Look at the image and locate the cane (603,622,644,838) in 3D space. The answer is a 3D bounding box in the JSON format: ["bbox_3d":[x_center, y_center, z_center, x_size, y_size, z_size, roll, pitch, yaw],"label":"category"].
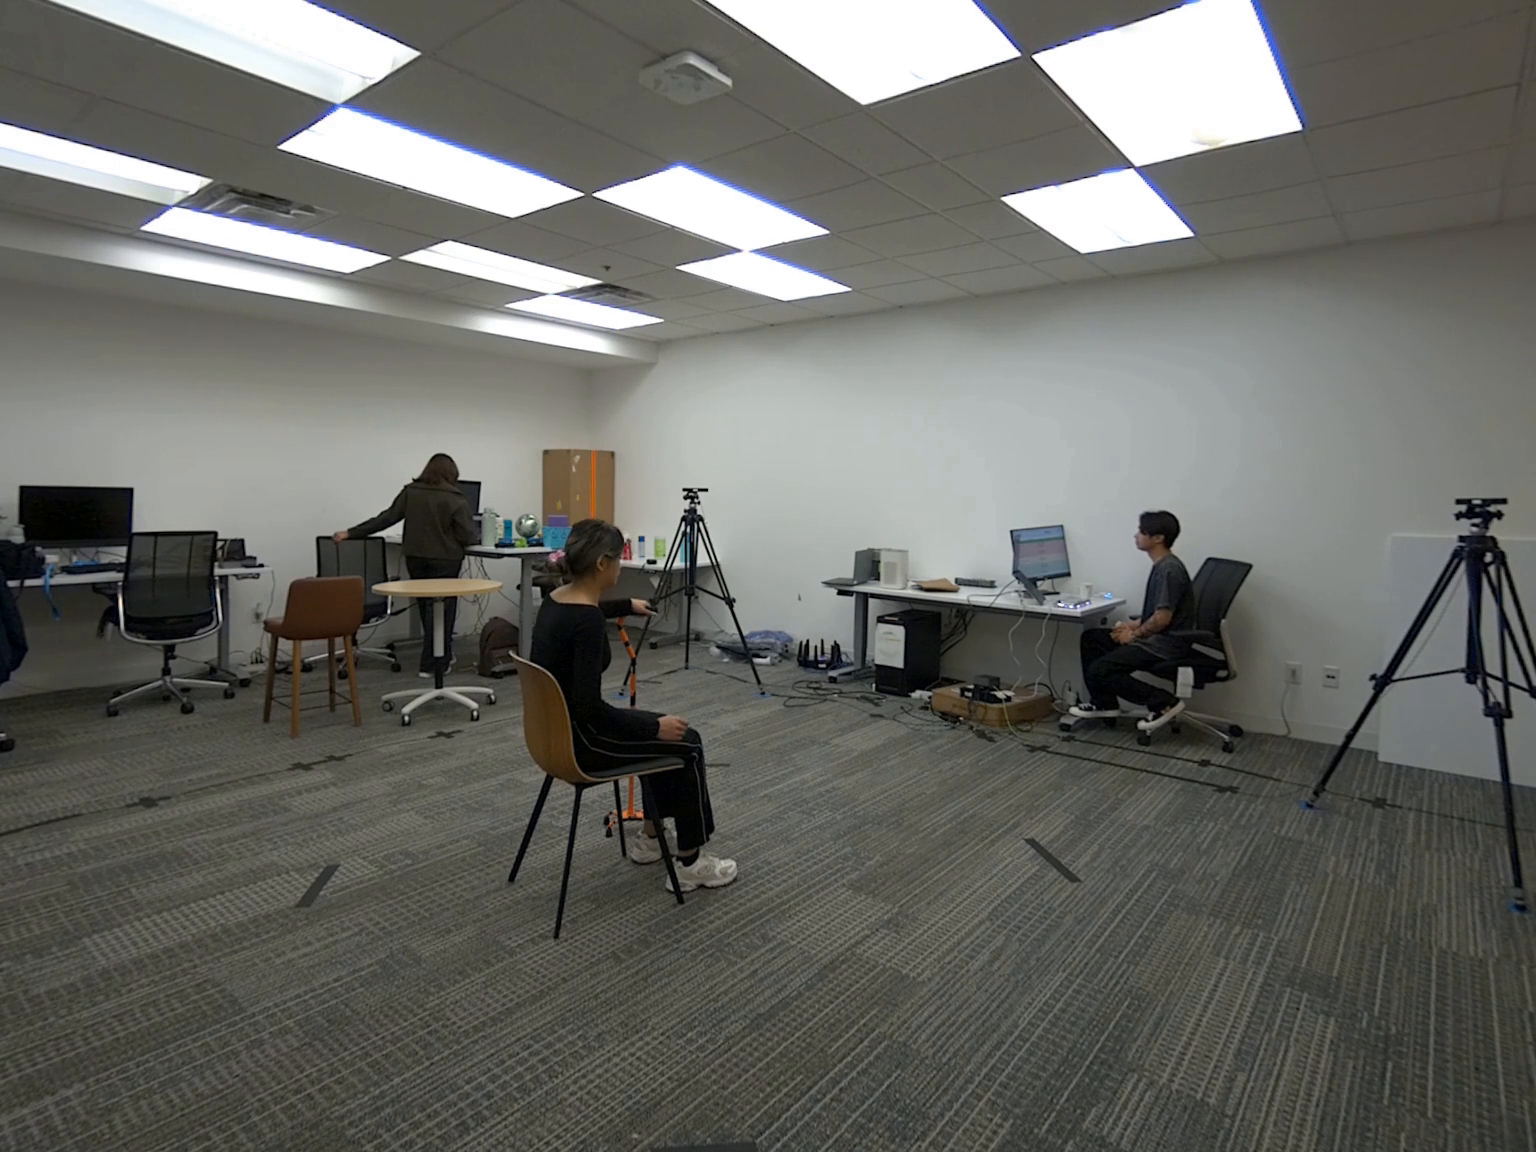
[{"bbox_3d":[-0.563,0.572,3.441,0.203,0.906,0.154,1,2,-14],"label":"cane"}]
